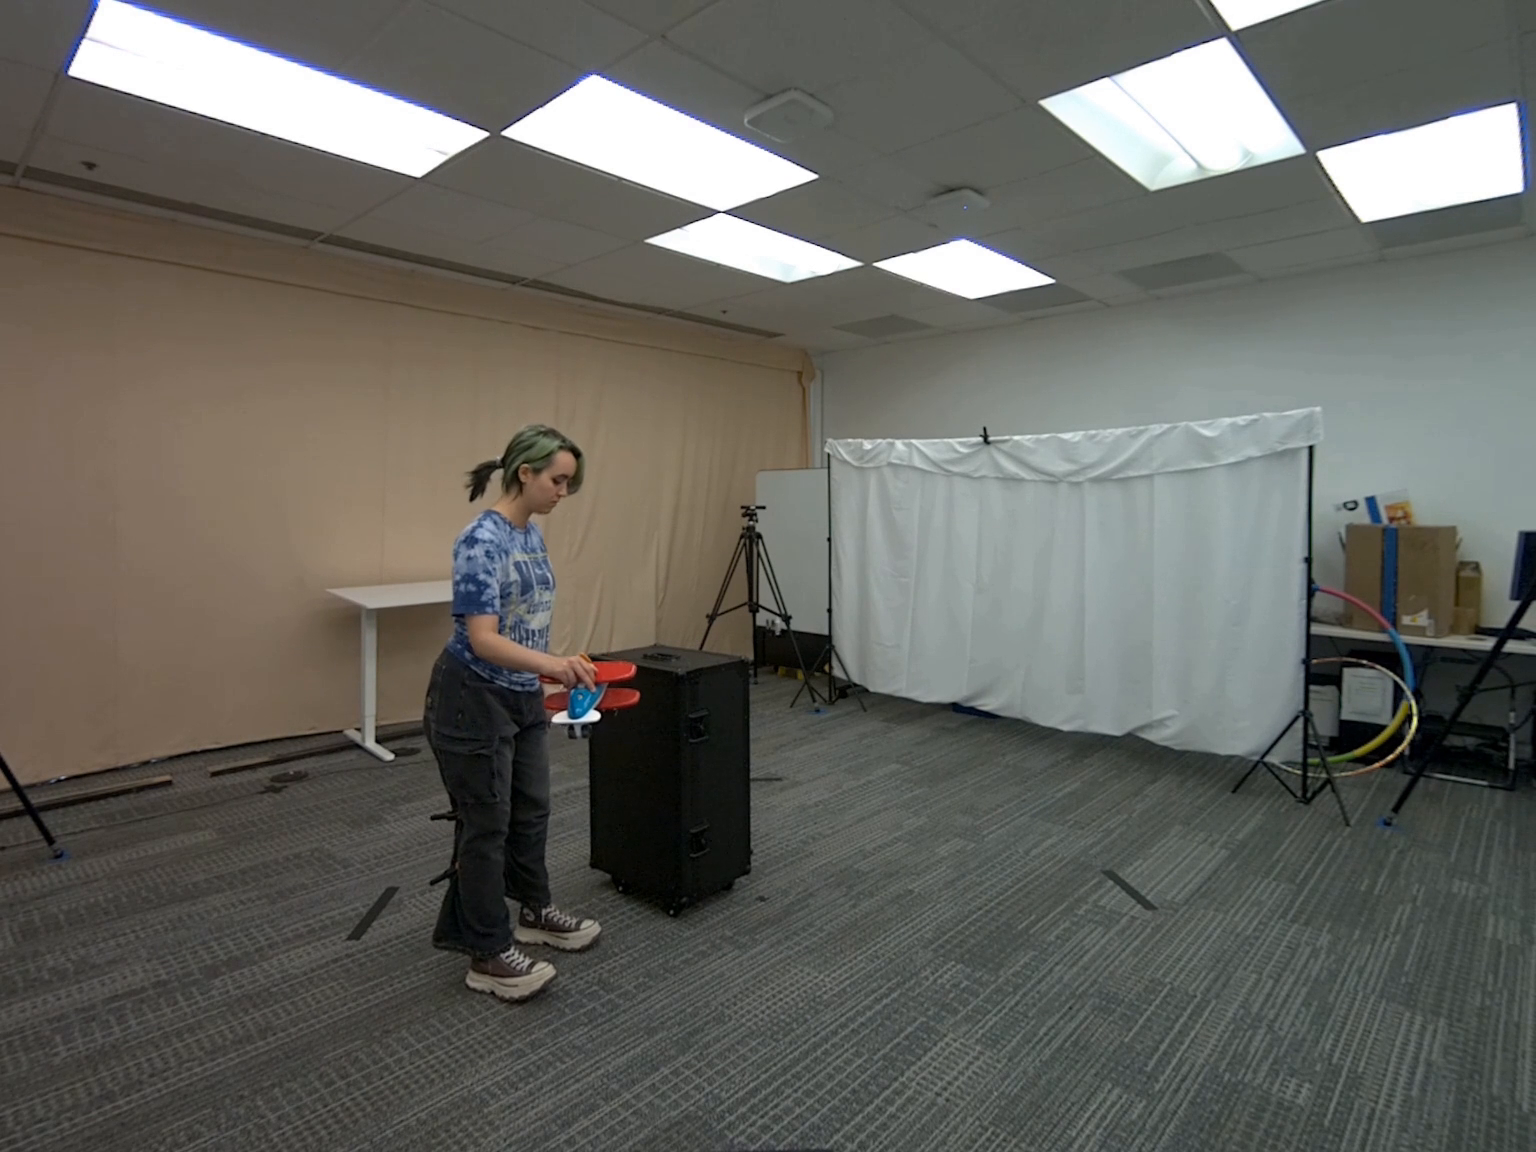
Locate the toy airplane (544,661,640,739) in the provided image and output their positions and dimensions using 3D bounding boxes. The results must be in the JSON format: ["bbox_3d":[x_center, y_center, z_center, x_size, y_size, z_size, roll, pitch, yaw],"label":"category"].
[{"bbox_3d":[-0.440,0.314,2.166,0.246,0.156,0.266,-6,7,-23],"label":"toy airplane"}]
